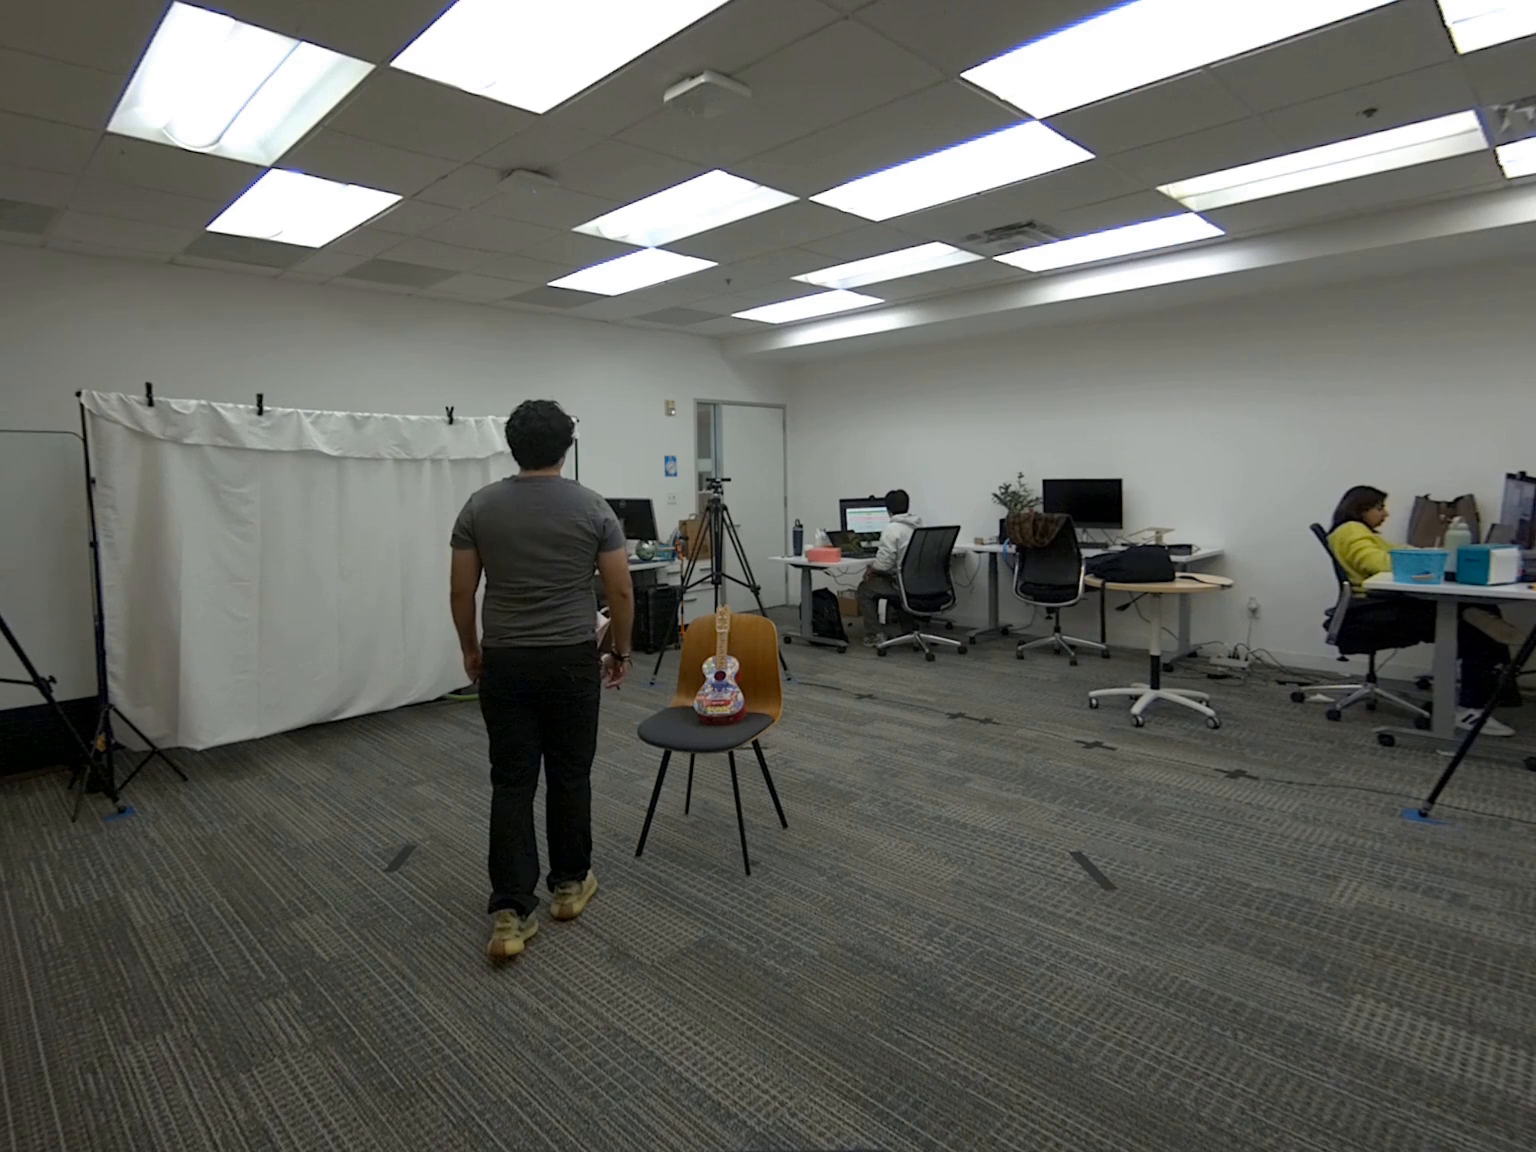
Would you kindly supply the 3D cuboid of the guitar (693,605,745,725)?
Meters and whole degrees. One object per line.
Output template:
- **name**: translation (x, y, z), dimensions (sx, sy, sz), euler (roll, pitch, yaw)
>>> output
- **guitar**: translation (-0.149, 0.339, 3.345), dimensions (0.196, 0.507, 0.068), euler (3, -37, 14)
